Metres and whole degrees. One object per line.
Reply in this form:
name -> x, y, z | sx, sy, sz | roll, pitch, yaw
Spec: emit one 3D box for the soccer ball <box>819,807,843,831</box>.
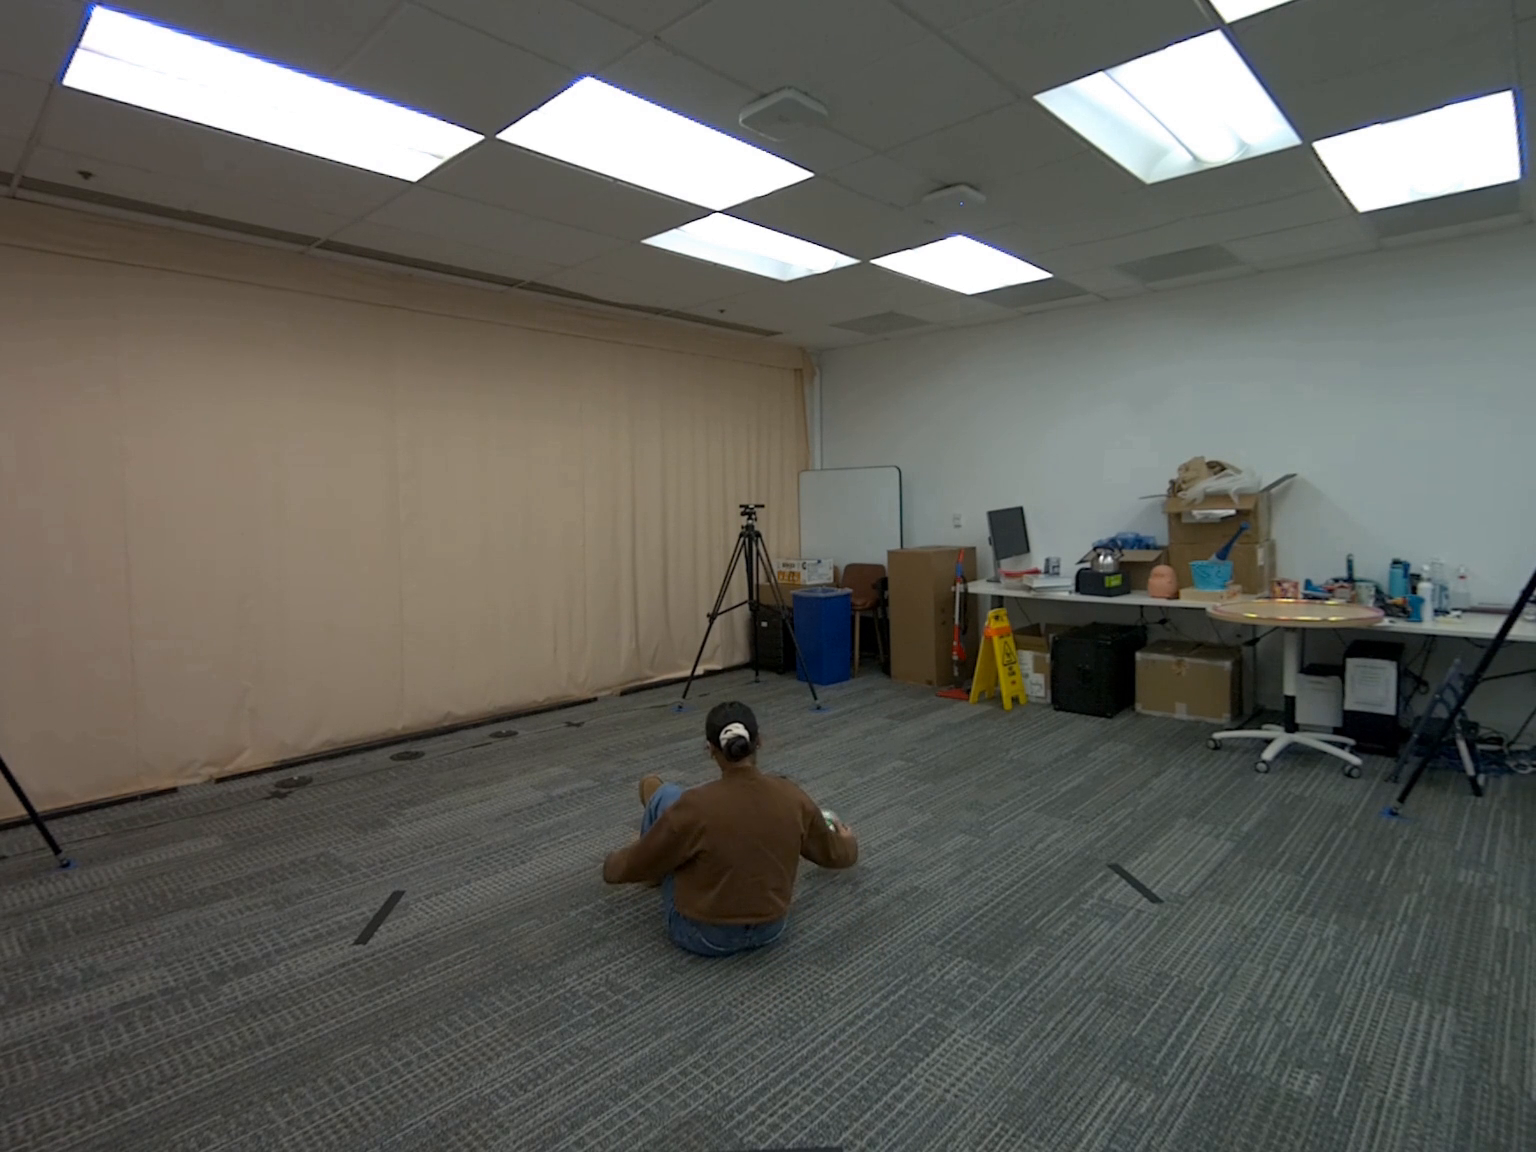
soccer ball -> 0.190, 0.956, 3.154 | 0.187, 0.187, 0.188 | -1, 4, -2
